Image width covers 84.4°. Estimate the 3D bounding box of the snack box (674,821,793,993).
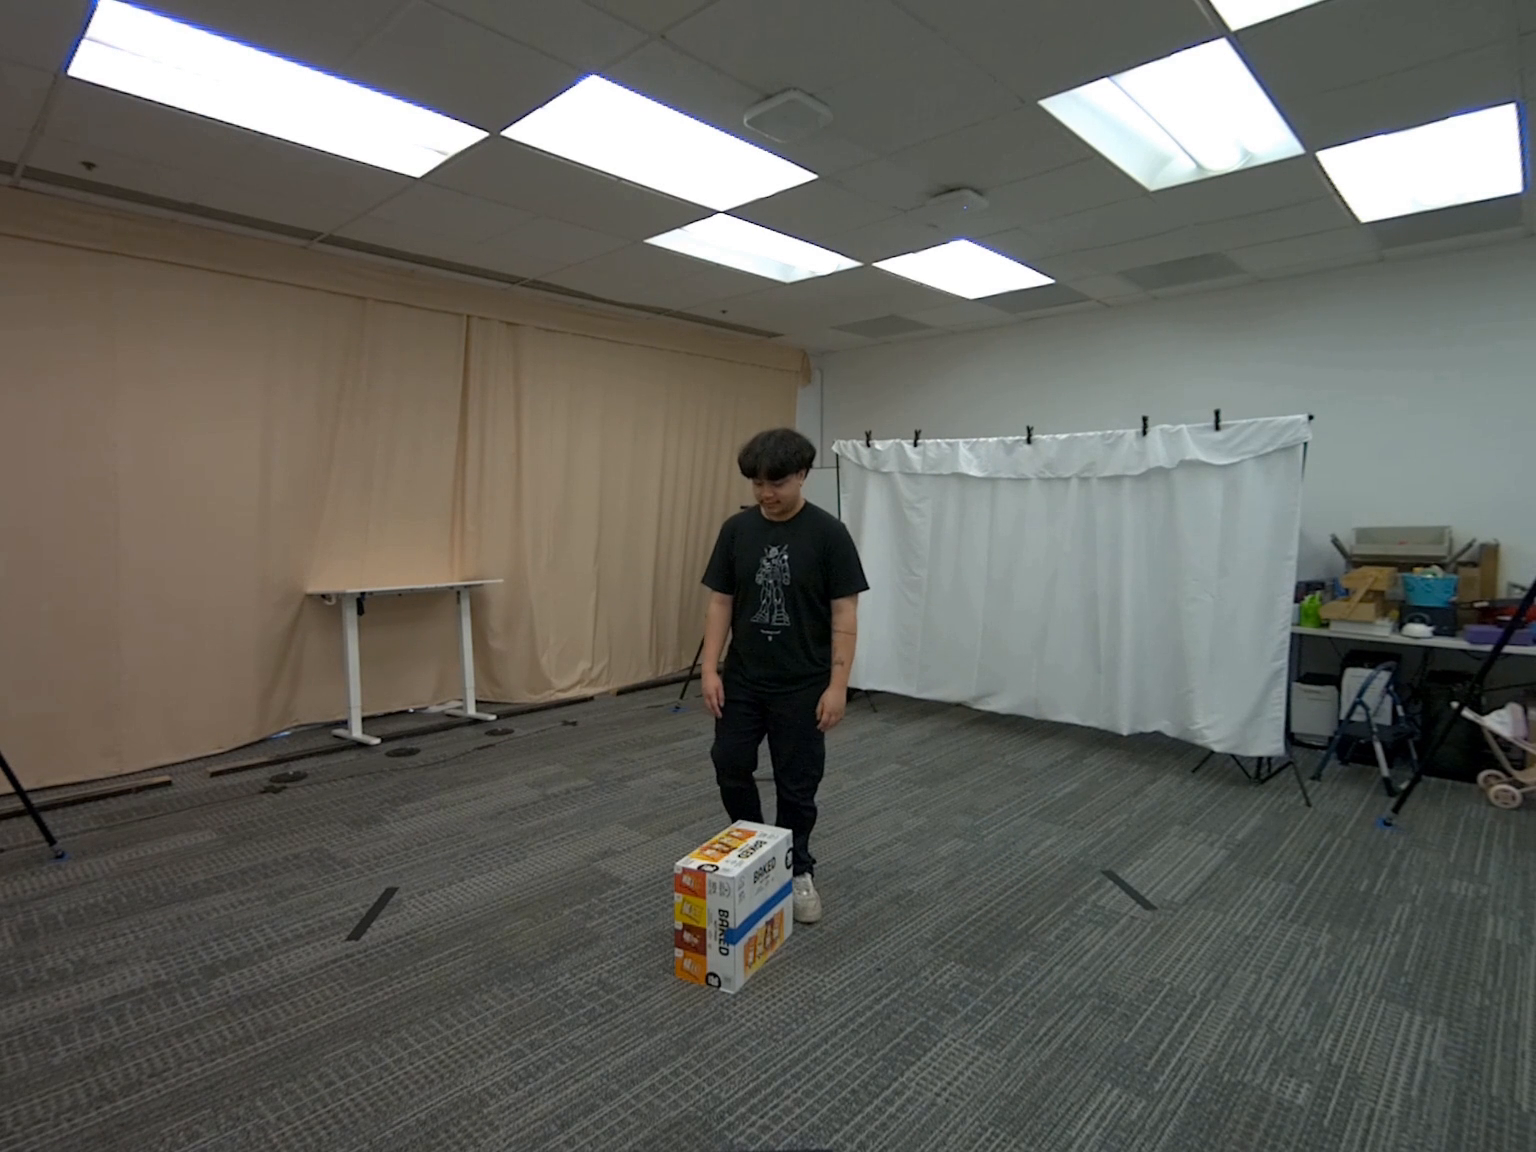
[{"bbox_3d":[-0.098,1.007,2.609,0.211,0.340,0.395,1,4,27],"label":"snack box"}]
